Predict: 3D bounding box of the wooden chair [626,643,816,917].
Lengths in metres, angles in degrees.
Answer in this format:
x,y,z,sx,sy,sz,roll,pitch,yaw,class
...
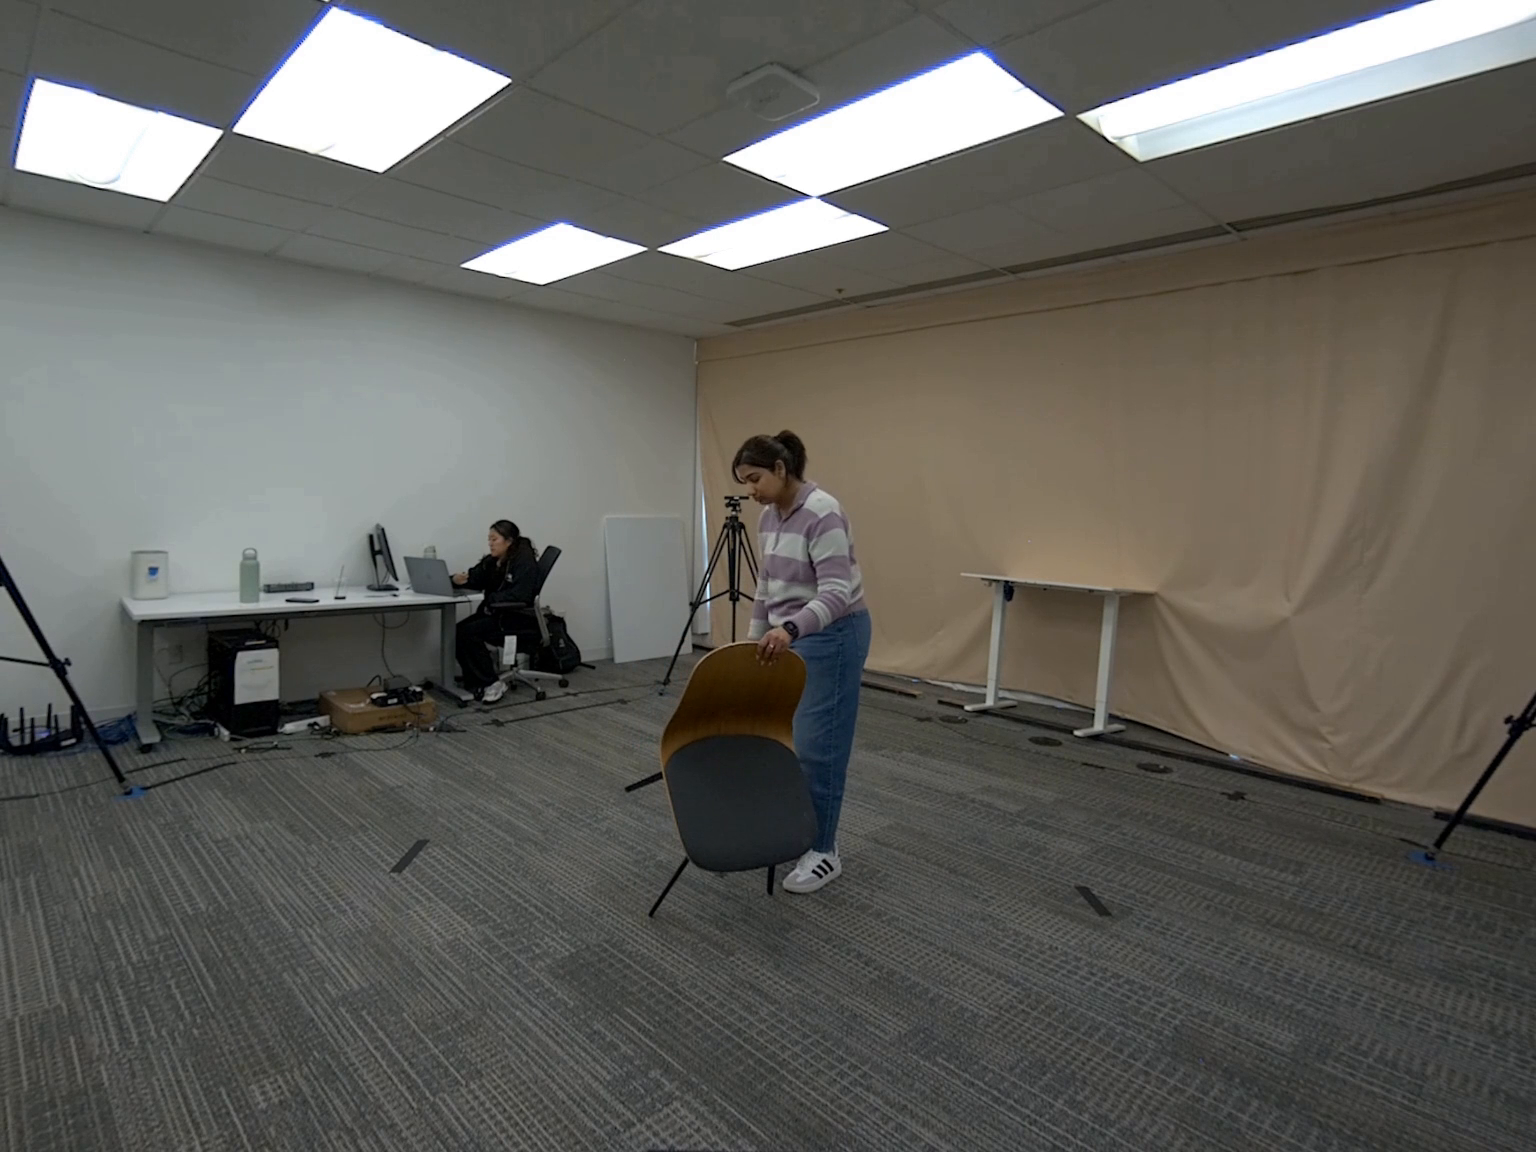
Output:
x,y,z,sx,sy,sz,roll,pitch,yaw,class
-0.118,0.689,2.700,0.469,0.868,0.538,1,46,-25,wooden chair
